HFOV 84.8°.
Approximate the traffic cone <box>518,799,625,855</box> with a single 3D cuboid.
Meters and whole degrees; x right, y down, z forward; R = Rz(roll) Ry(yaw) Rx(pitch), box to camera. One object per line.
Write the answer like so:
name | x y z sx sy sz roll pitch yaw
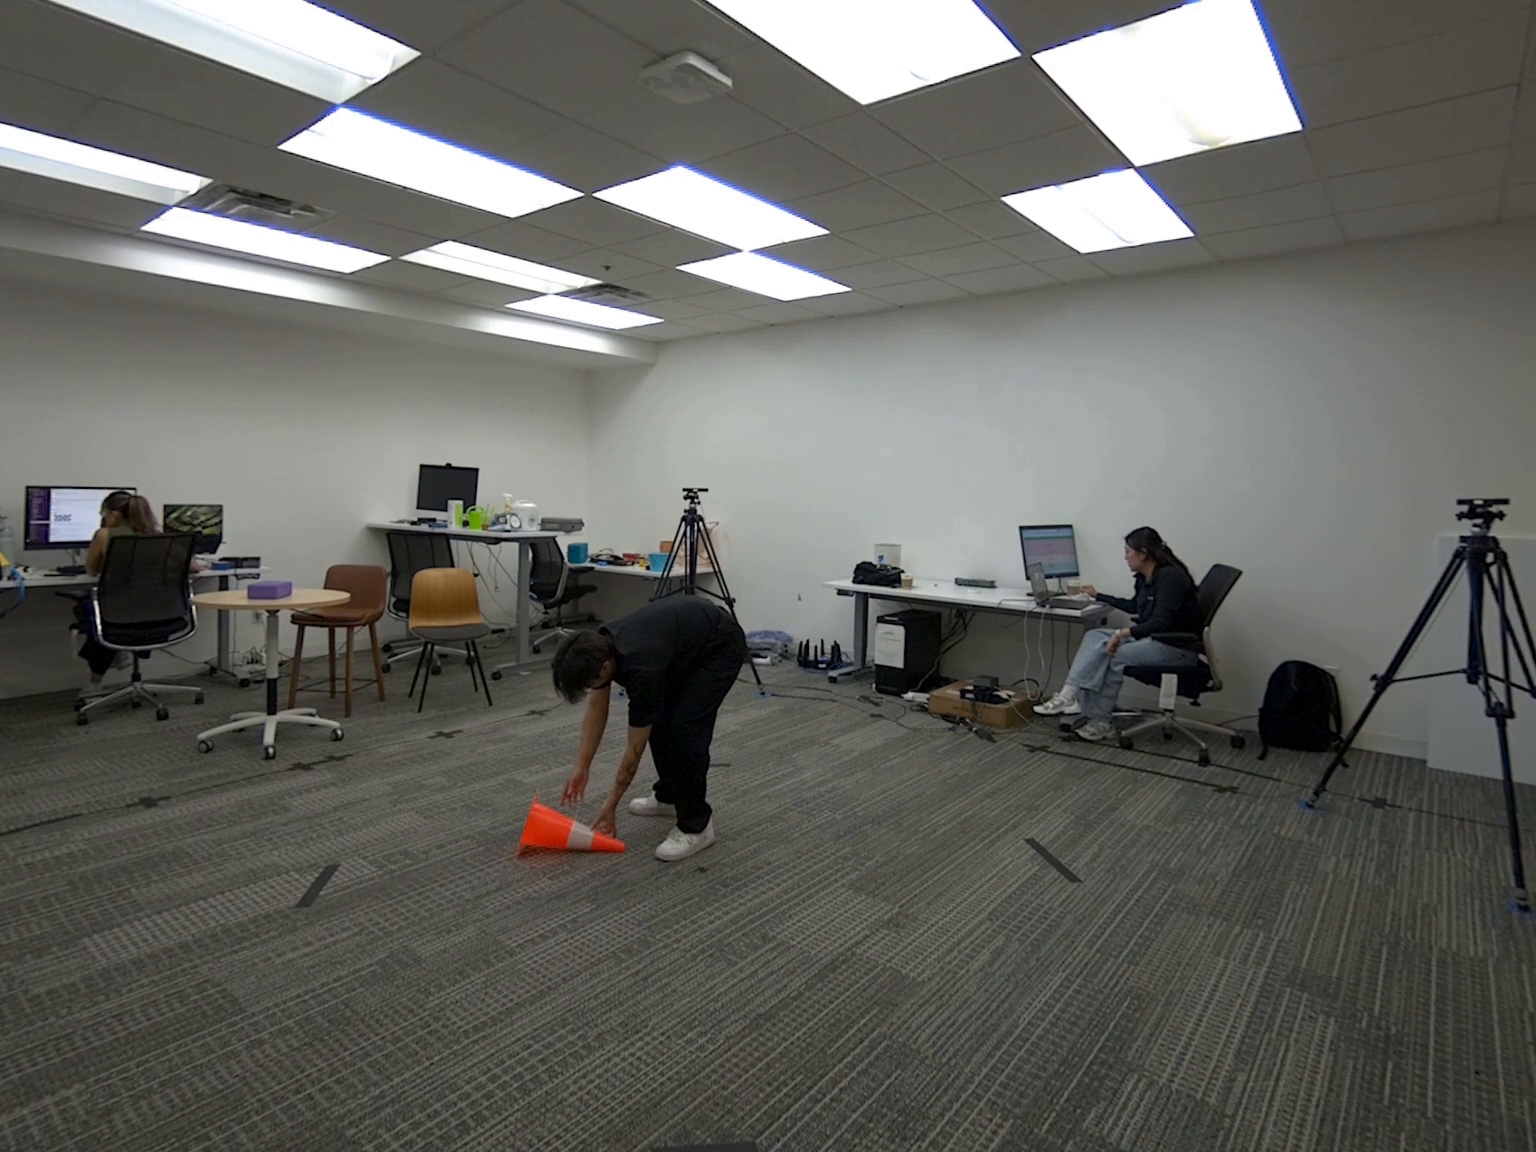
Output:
traffic cone | -0.746 0.995 3.270 0.382 0.203 0.206 16 3 -4
